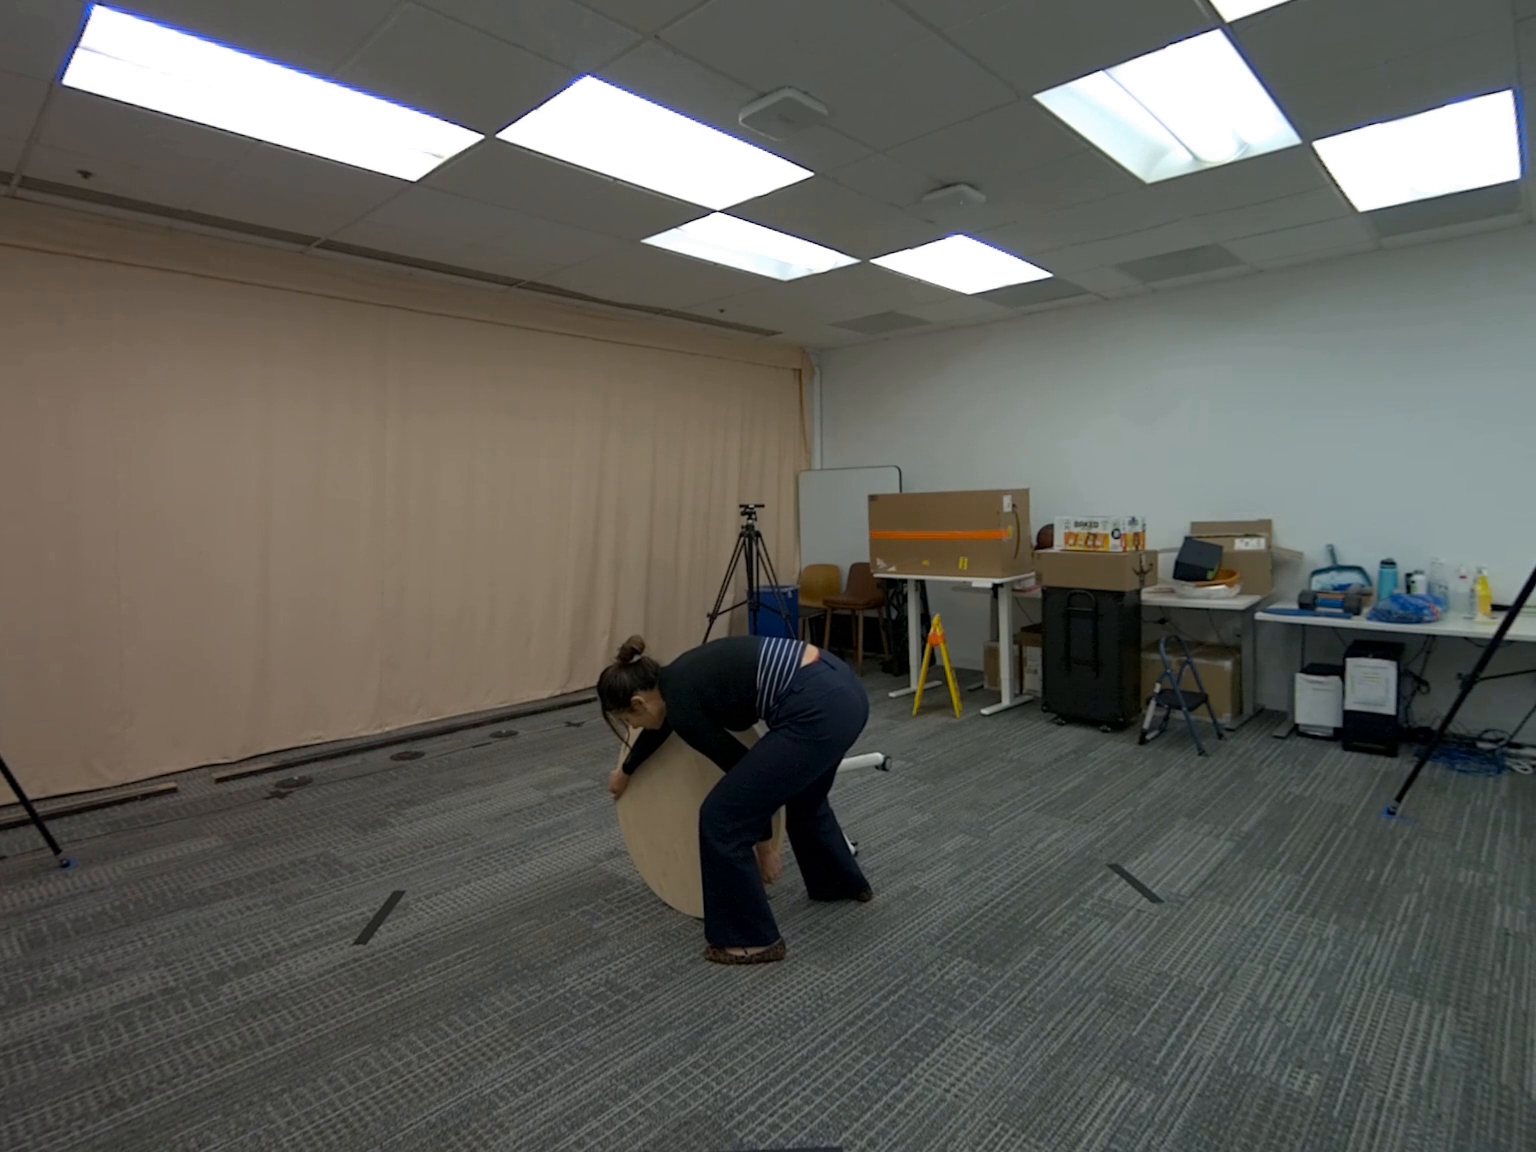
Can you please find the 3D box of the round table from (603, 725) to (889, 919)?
[{"bbox_3d":[-0.018,0.793,3.183,0.789,0.765,0.768,2,-2,40],"label":"round table"}]
